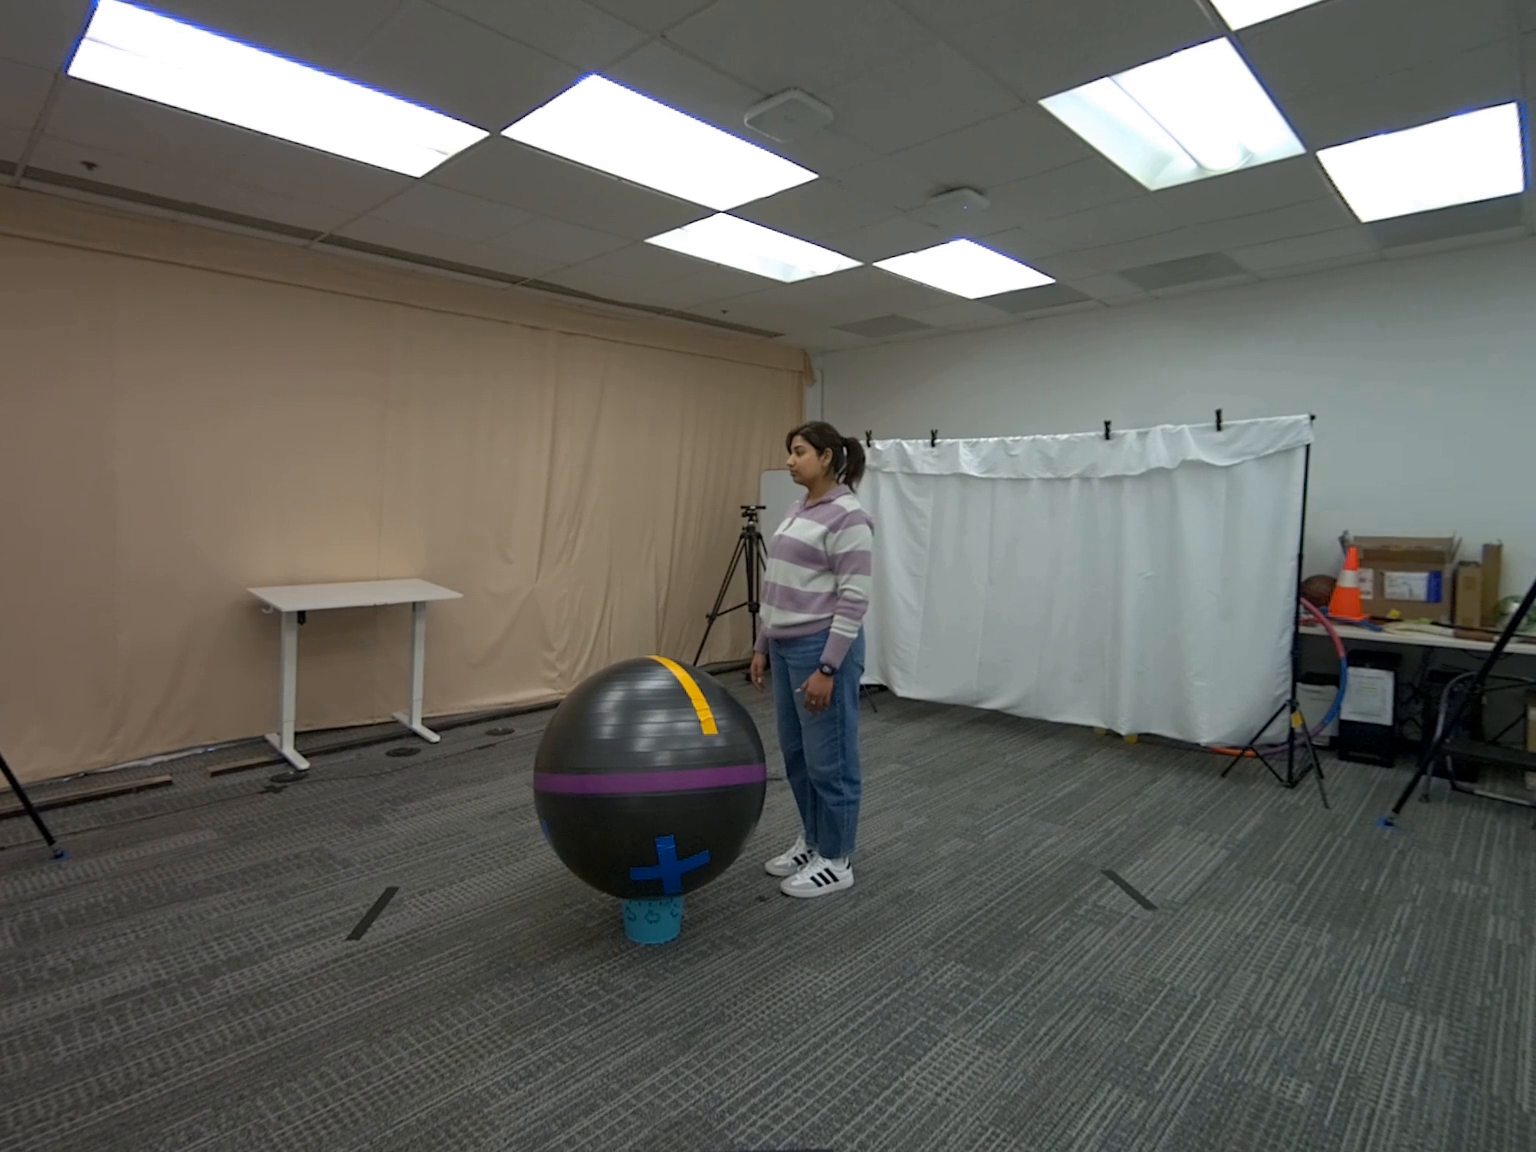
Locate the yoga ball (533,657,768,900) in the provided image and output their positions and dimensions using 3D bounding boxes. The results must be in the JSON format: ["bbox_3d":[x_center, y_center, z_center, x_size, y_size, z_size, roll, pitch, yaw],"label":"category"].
[{"bbox_3d":[-0.404,0.659,2.737,0.757,0.756,0.761,0,4,-2],"label":"yoga ball"}]
